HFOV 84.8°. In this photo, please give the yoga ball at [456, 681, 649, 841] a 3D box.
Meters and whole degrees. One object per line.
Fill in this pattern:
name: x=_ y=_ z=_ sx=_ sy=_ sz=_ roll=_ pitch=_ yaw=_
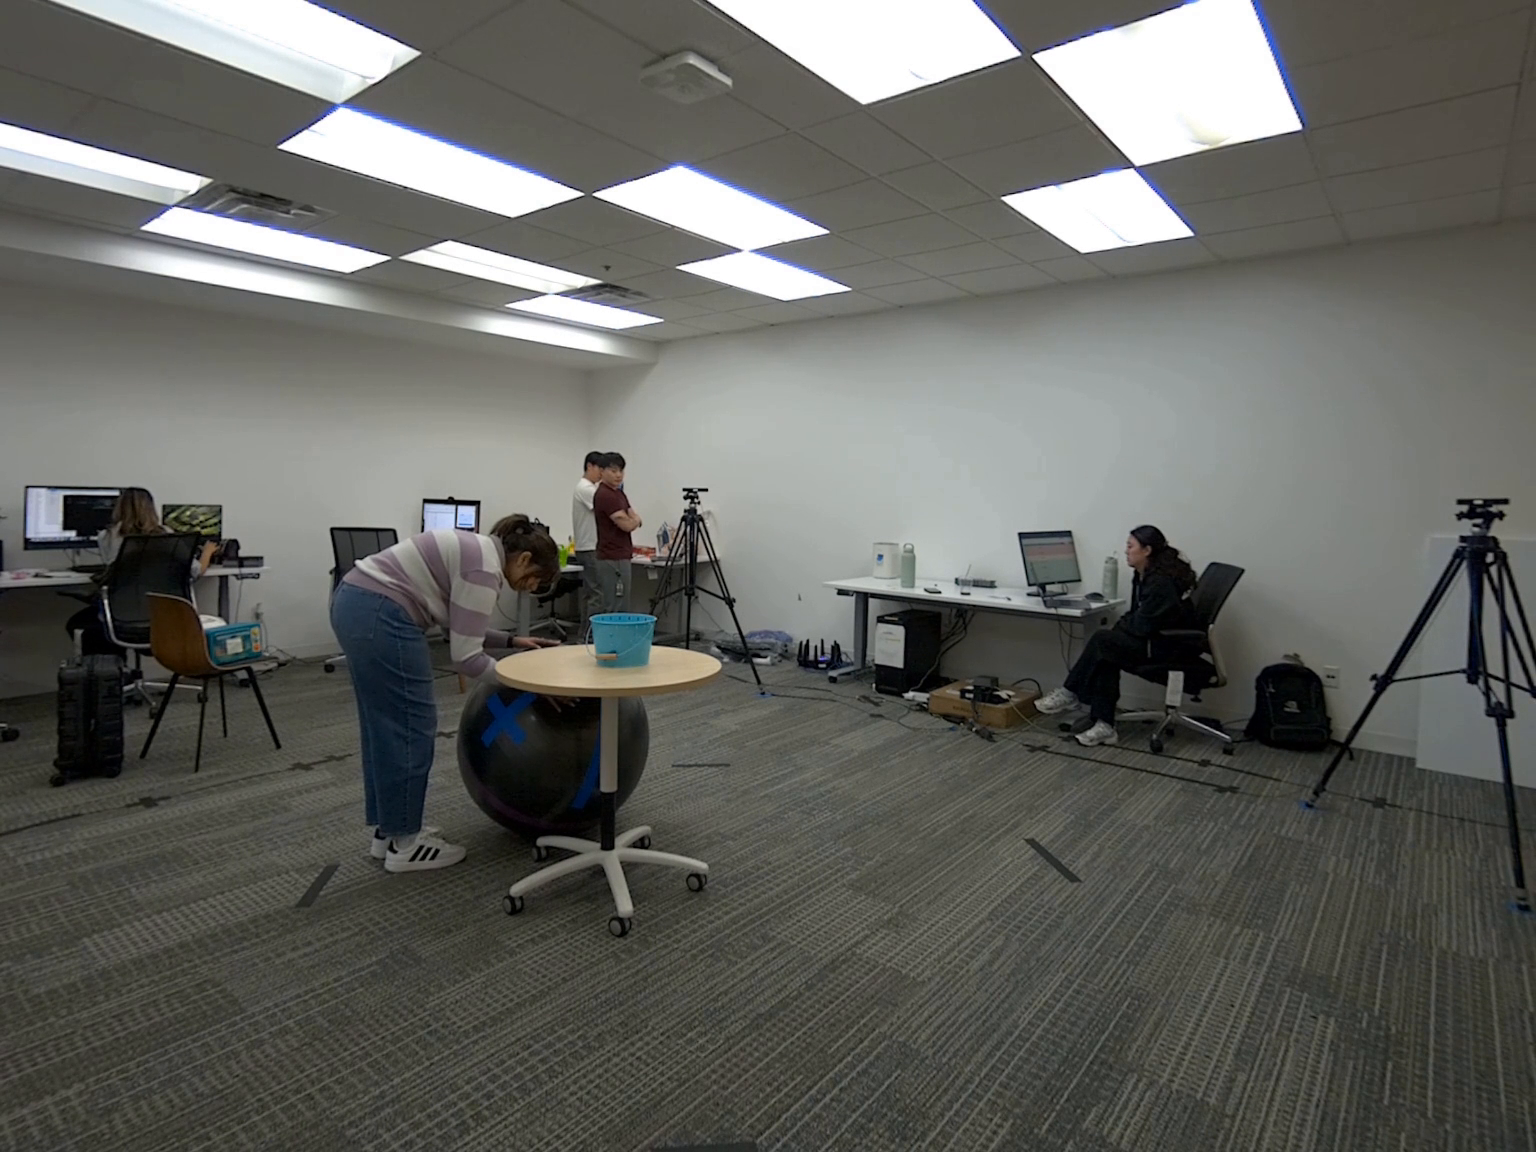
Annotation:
yoga ball: x=-0.873 y=0.657 z=3.445 sx=0.757 sy=0.755 sz=0.762 roll=1 pitch=4 yaw=-2
